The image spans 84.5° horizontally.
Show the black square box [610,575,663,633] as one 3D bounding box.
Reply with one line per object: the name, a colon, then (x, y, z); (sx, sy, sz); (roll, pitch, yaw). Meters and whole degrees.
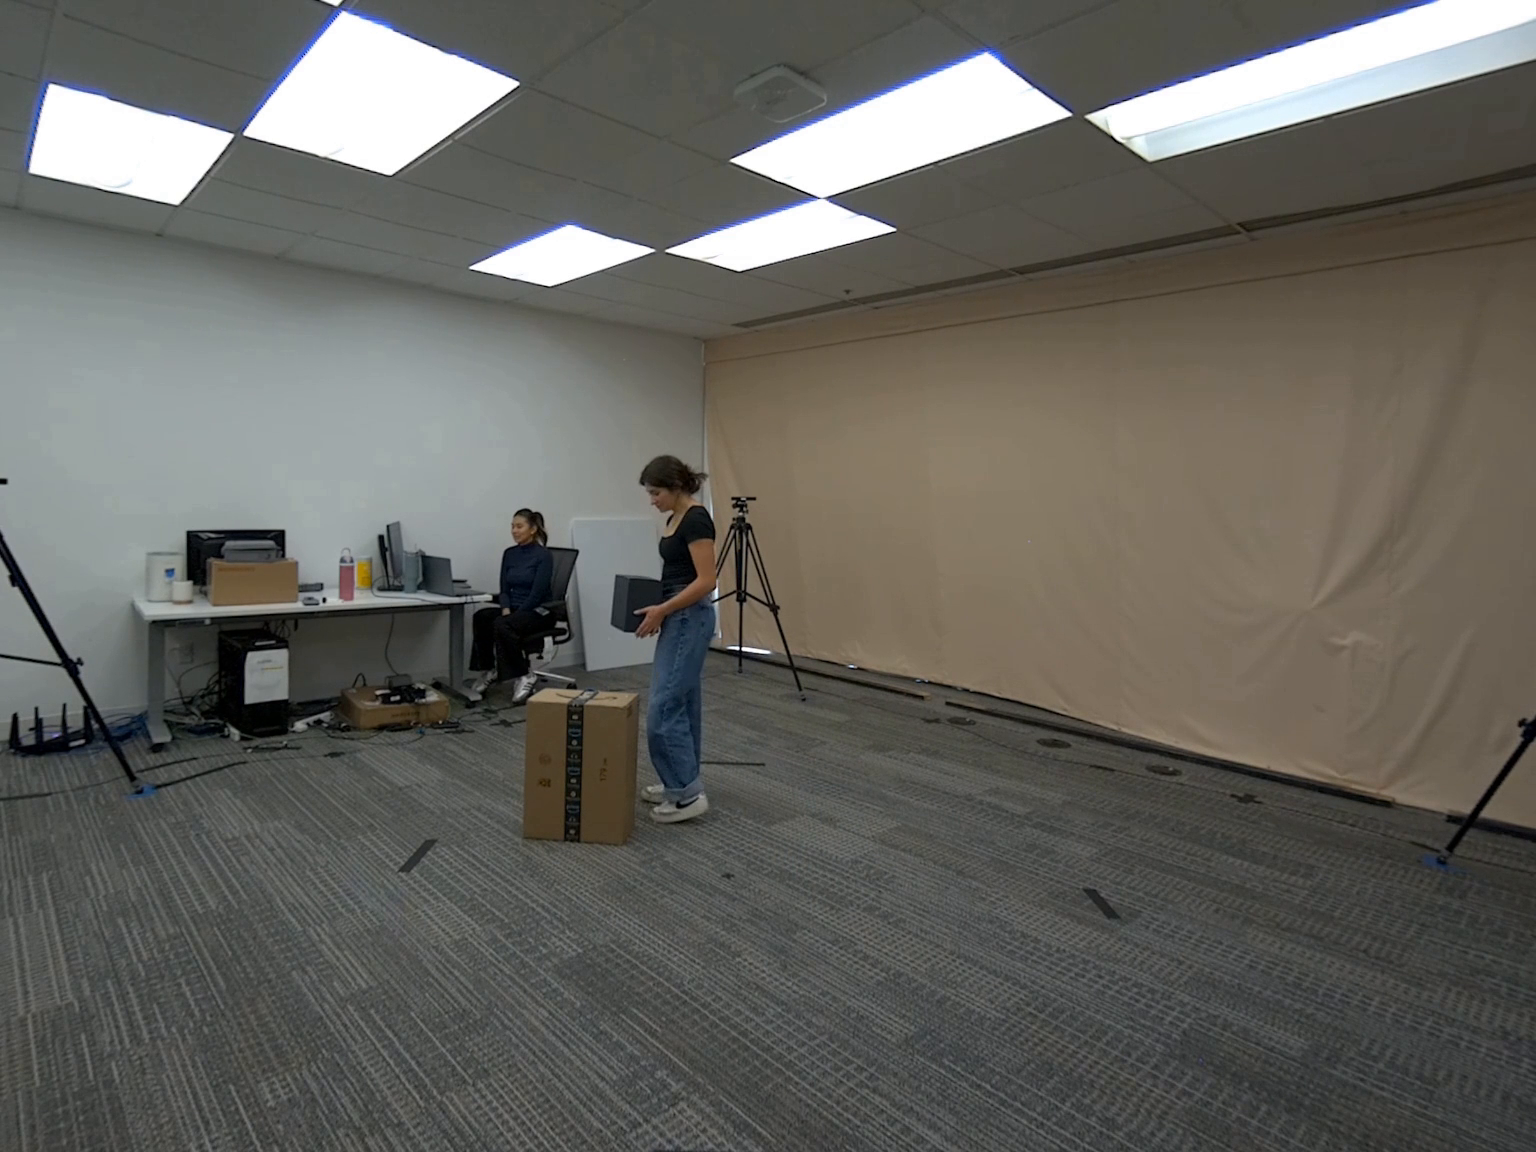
black square box: (-0.585, 0.116, 3.681); (0.153, 0.227, 0.221); (4, 2, -24)
